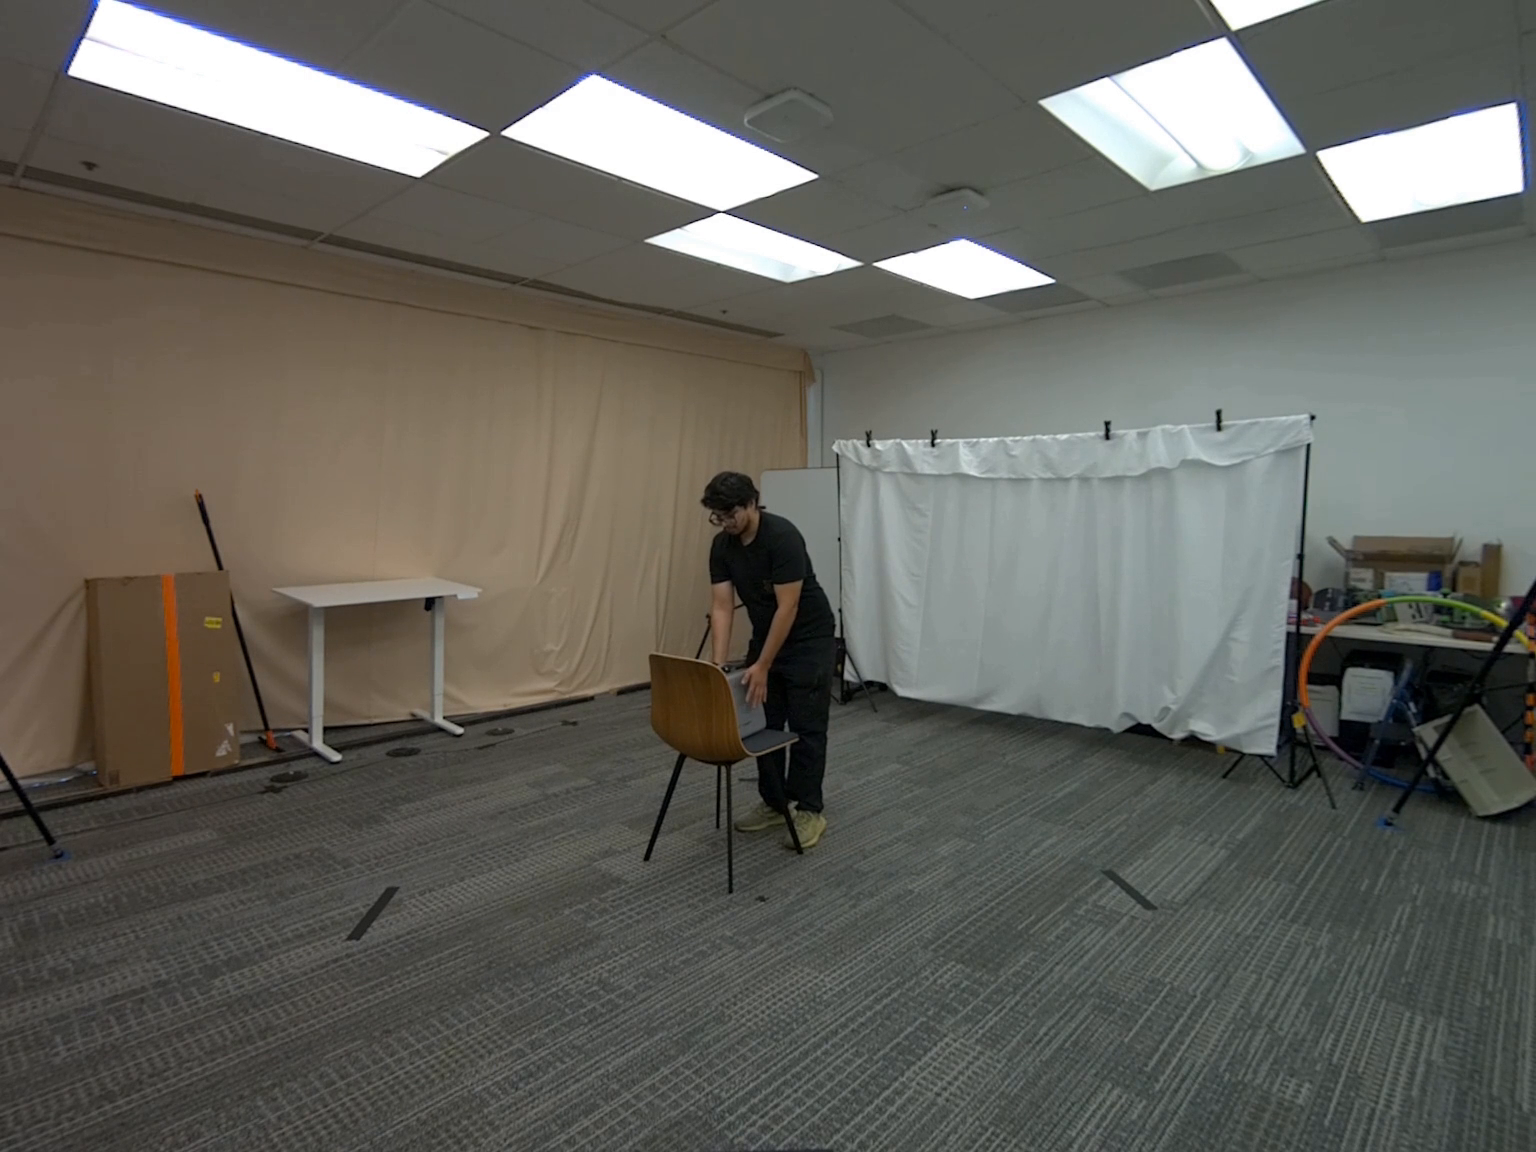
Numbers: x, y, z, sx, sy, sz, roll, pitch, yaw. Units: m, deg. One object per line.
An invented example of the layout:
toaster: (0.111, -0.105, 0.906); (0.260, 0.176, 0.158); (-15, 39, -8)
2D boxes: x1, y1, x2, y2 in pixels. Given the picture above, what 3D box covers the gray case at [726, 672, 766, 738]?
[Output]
gray case: (-0.133, 0.513, 3.332); (0.107, 0.261, 0.250); (-16, -1, 35)
